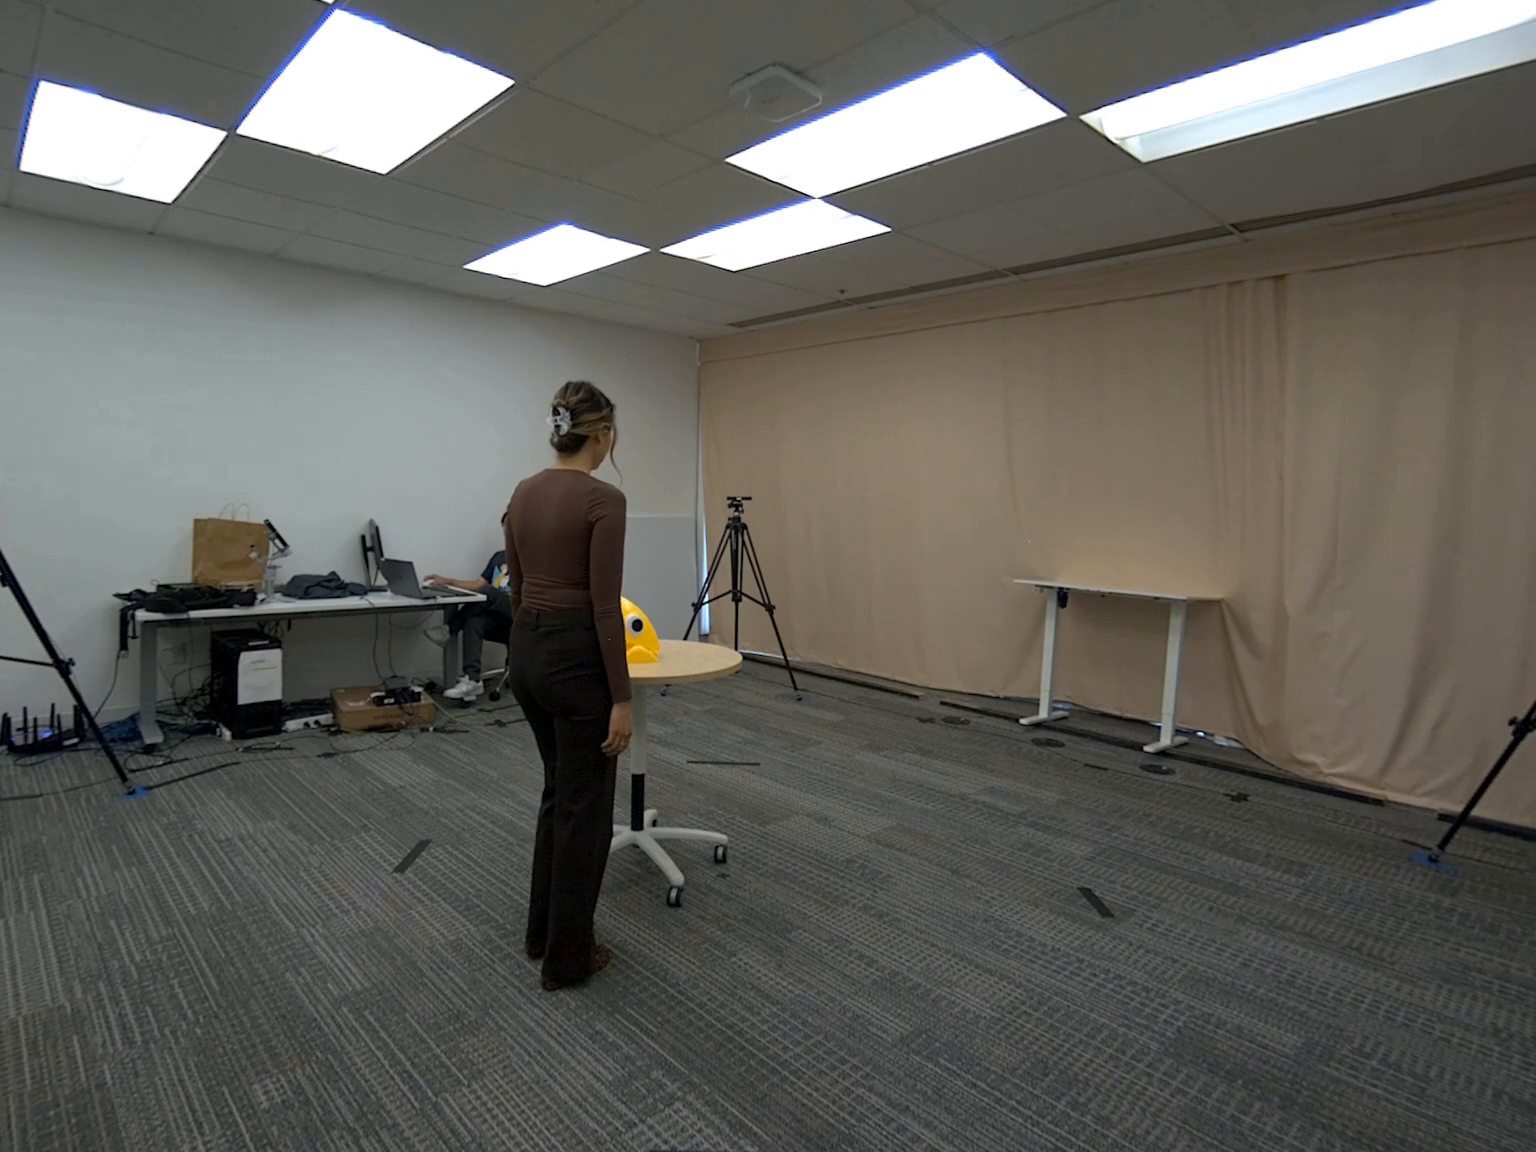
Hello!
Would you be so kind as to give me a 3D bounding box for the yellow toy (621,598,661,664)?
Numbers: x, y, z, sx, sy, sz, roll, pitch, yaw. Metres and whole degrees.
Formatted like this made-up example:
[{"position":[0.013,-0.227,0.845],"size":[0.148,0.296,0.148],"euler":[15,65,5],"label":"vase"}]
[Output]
[{"position":[-0.496,0.189,3.095],"size":[0.192,0.230,0.206],"euler":[2,2,-6],"label":"yellow toy"}]
